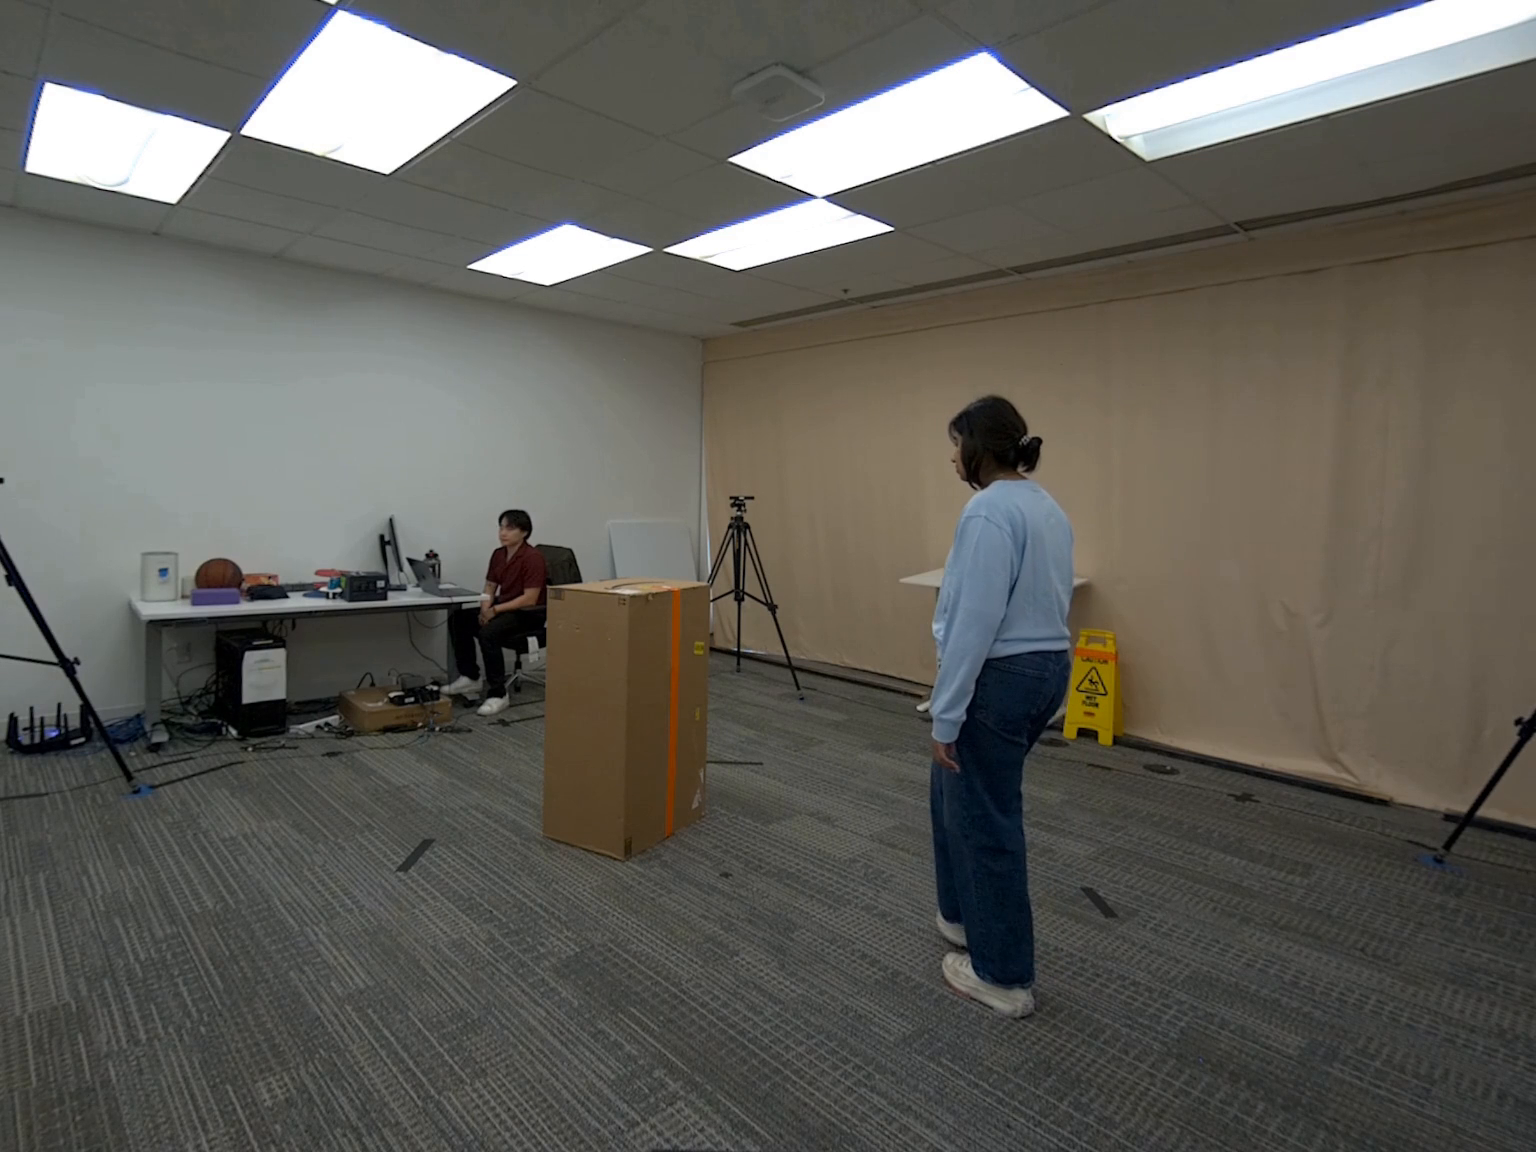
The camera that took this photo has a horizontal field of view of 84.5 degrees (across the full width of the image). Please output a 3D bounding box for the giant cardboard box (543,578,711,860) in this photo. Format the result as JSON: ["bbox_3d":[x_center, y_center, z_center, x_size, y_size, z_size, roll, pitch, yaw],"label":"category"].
[{"bbox_3d":[-0.587,0.546,3.528,0.457,1.025,0.572,4,4,31],"label":"giant cardboard box"}]
